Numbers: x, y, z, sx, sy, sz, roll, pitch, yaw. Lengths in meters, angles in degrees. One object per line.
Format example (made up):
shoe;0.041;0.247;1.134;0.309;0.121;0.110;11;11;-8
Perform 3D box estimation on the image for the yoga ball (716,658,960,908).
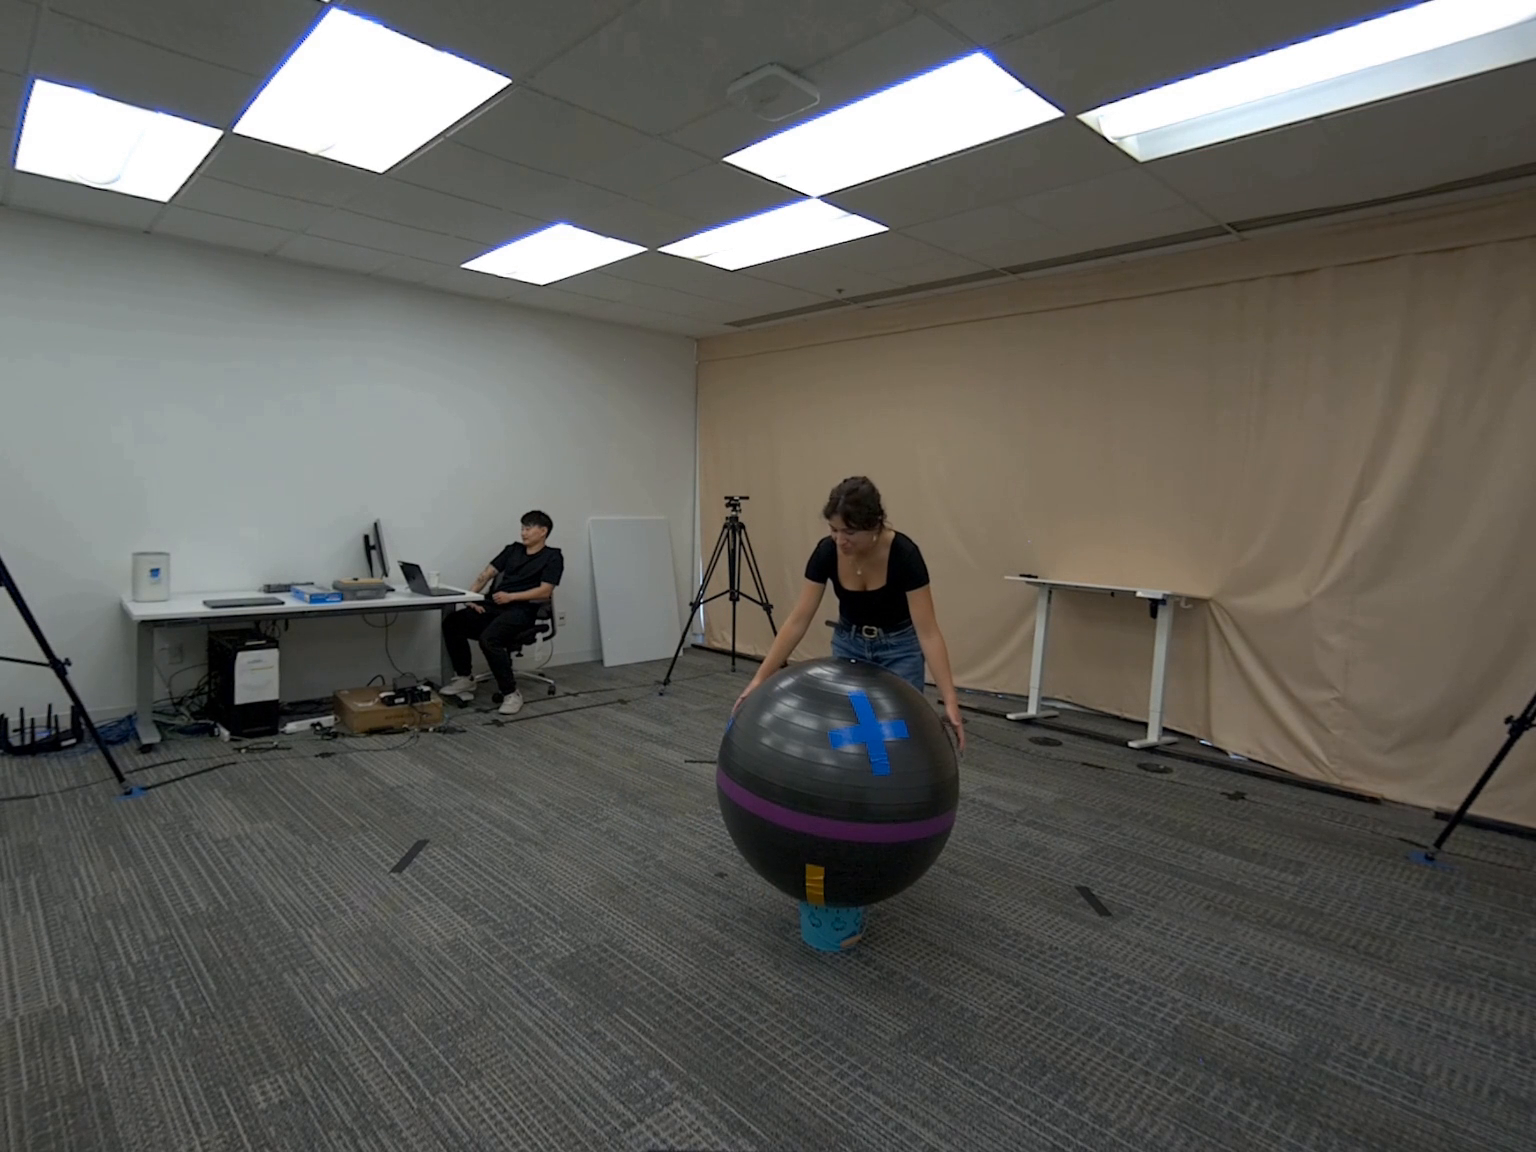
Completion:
yoga ball;0.214;0.639;2.660;0.757;0.756;0.761;1;4;-1
